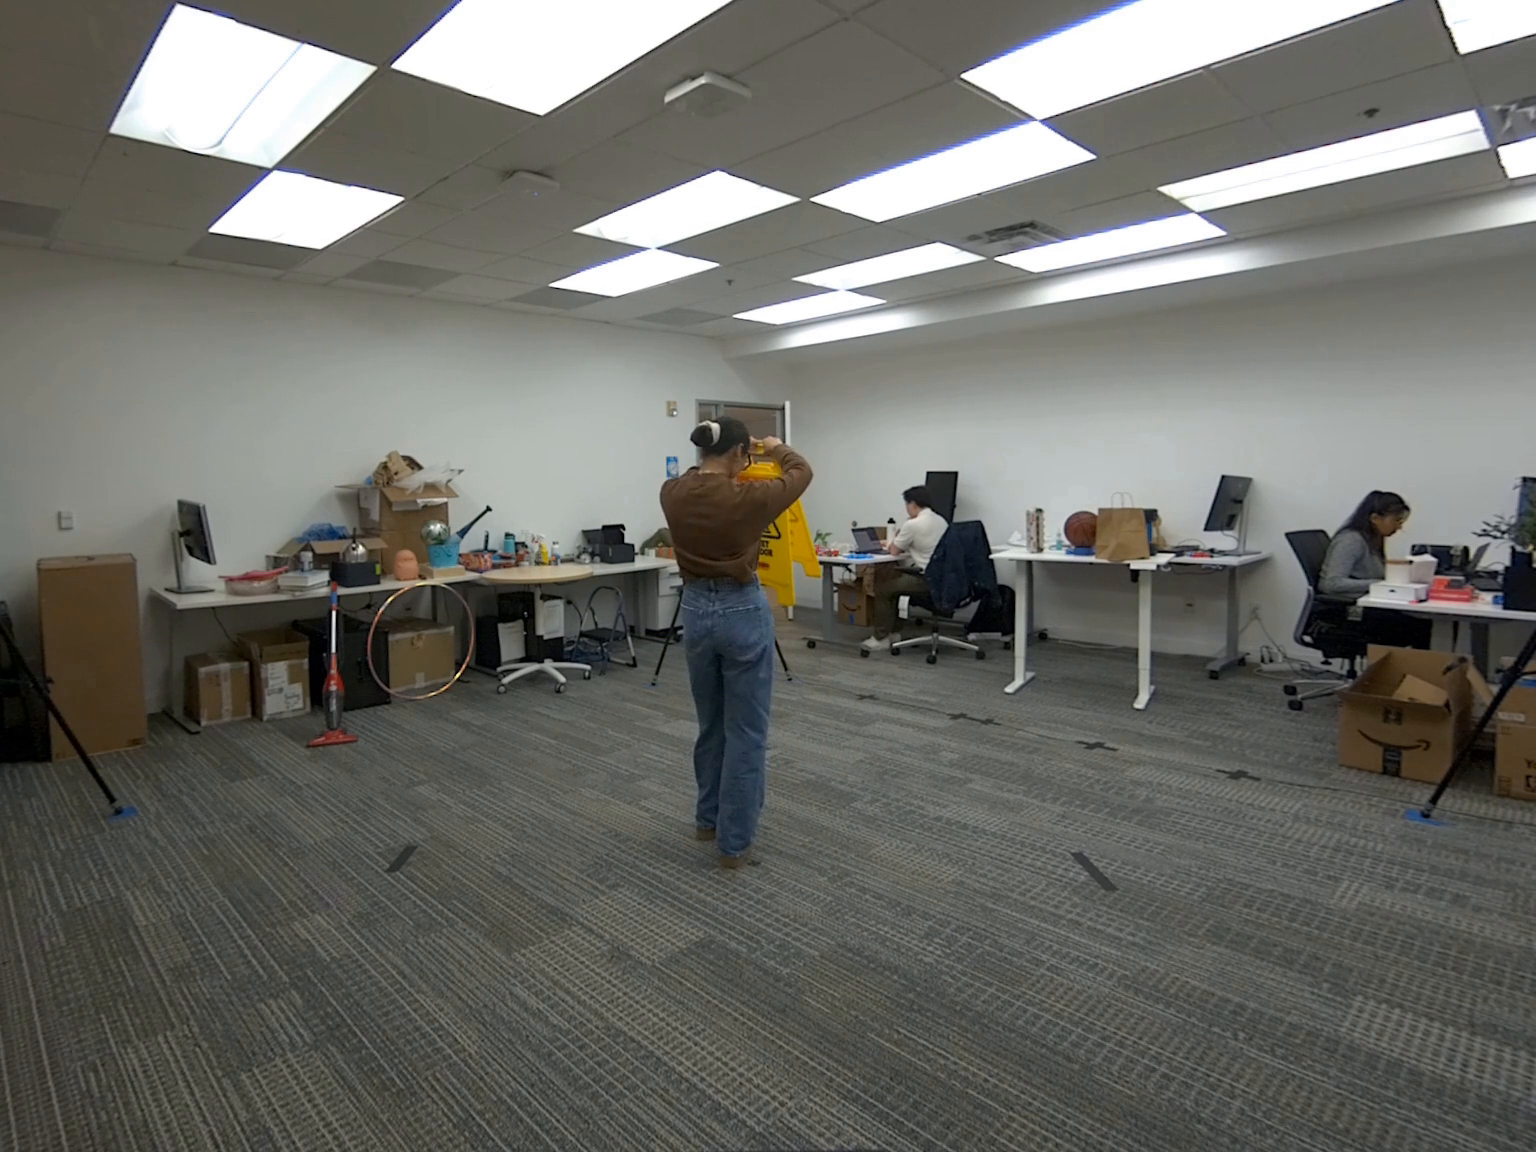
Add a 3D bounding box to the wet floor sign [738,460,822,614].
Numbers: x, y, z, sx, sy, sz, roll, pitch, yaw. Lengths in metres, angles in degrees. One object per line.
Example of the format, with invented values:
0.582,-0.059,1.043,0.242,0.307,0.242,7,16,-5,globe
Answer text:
0.012,-0.241,3.561,0.290,0.632,0.287,7,26,31,wet floor sign
